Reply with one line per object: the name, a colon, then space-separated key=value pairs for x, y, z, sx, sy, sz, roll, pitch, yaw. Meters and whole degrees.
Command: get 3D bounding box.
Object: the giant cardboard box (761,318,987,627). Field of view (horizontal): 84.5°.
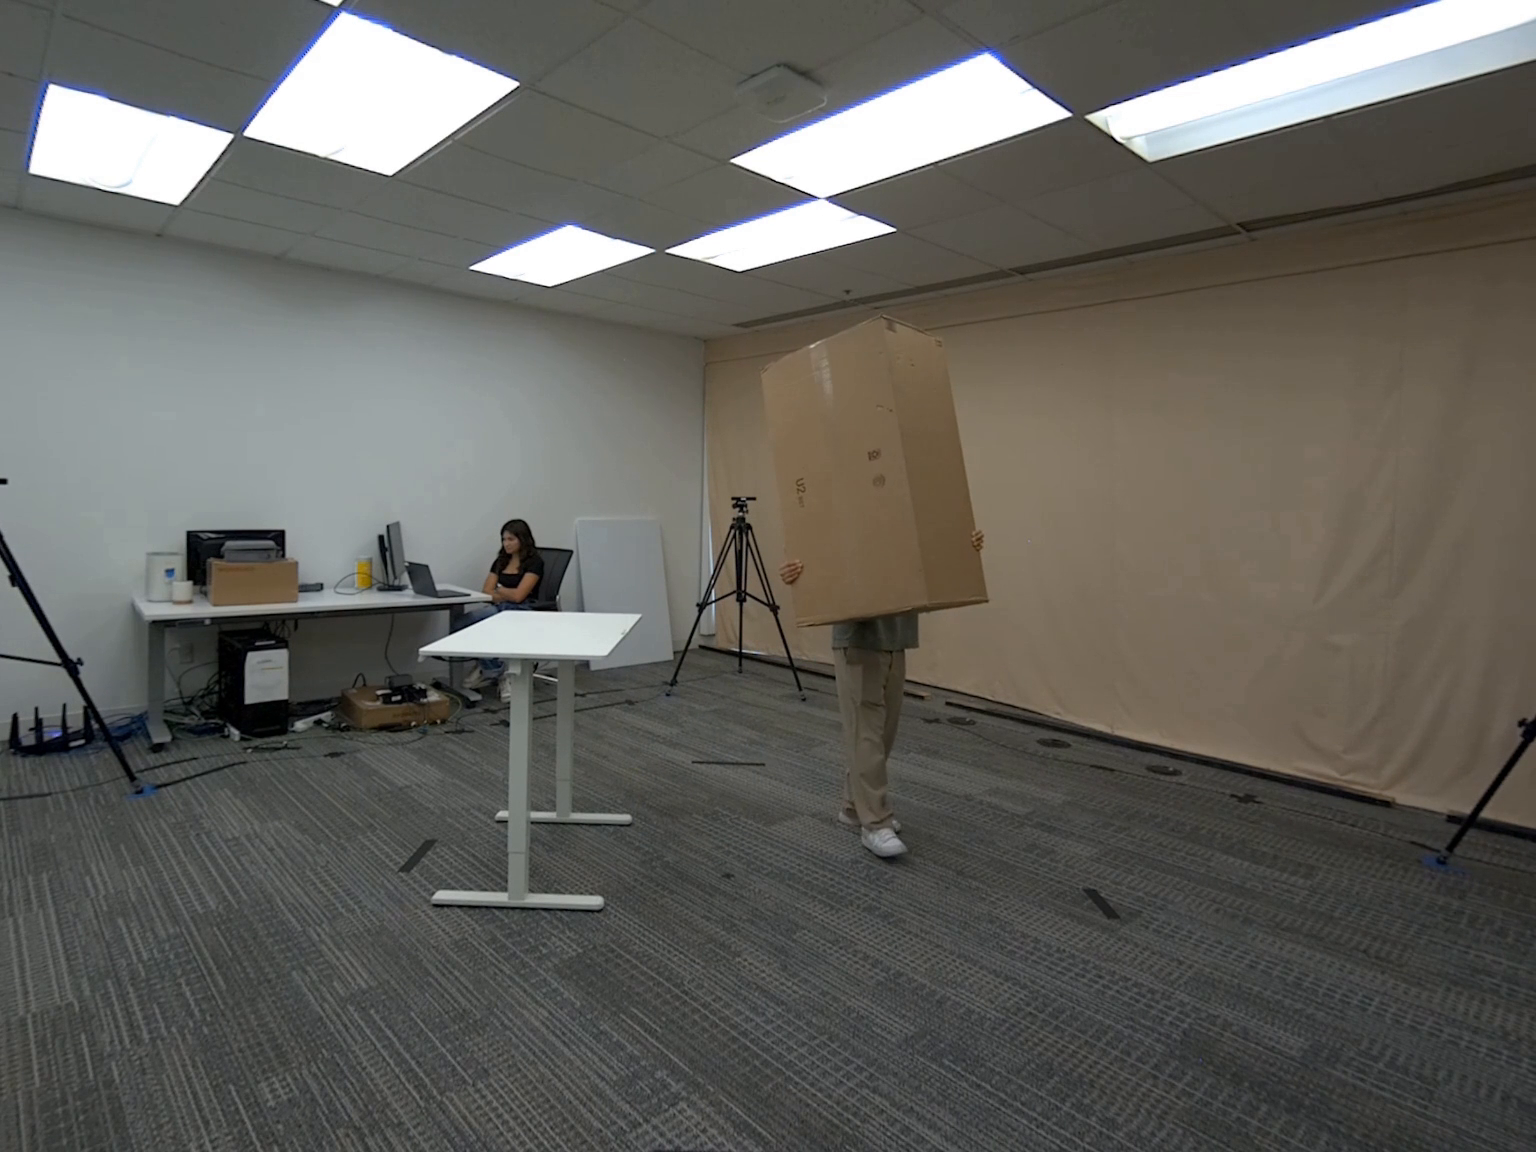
giant cardboard box: x=0.381 y=-0.350 z=3.170 sx=0.587 sy=1.033 sz=0.416 roll=-15 pitch=-11 yaw=42
